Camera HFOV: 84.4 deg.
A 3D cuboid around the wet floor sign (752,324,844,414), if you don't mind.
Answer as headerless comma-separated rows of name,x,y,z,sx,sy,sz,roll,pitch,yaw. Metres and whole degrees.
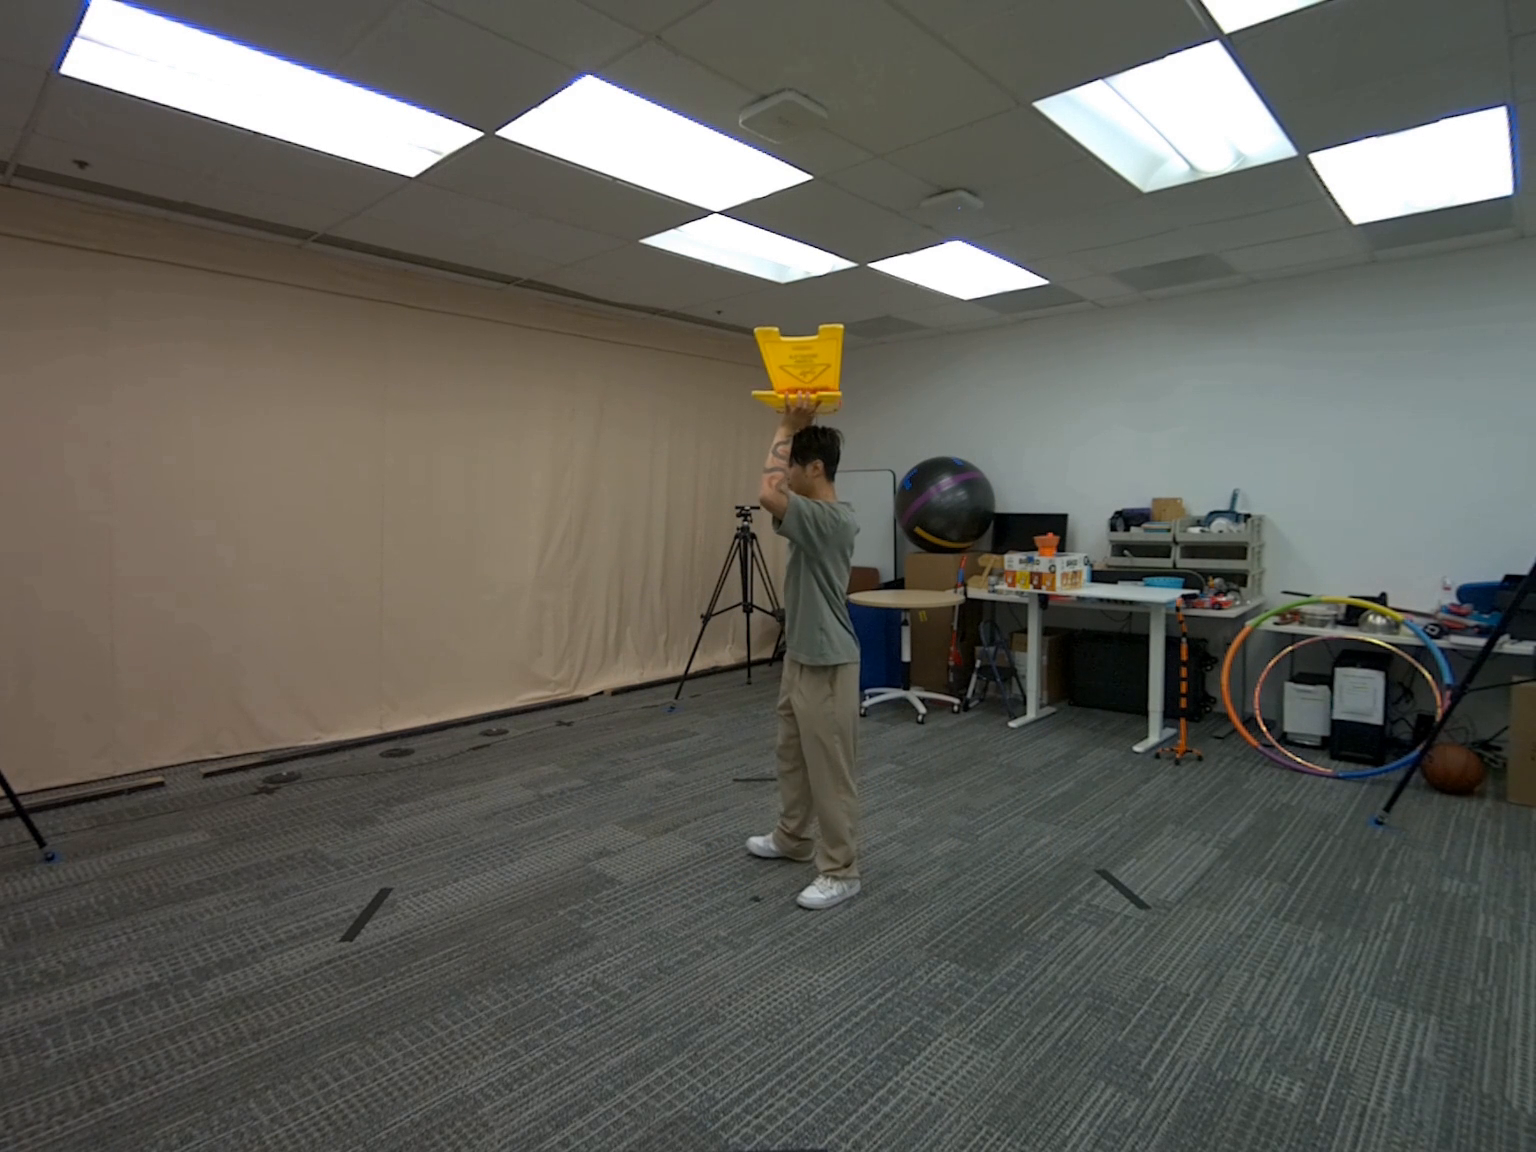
wet floor sign,0.139,-0.651,2.925,0.284,0.290,0.640,3,-2,5
